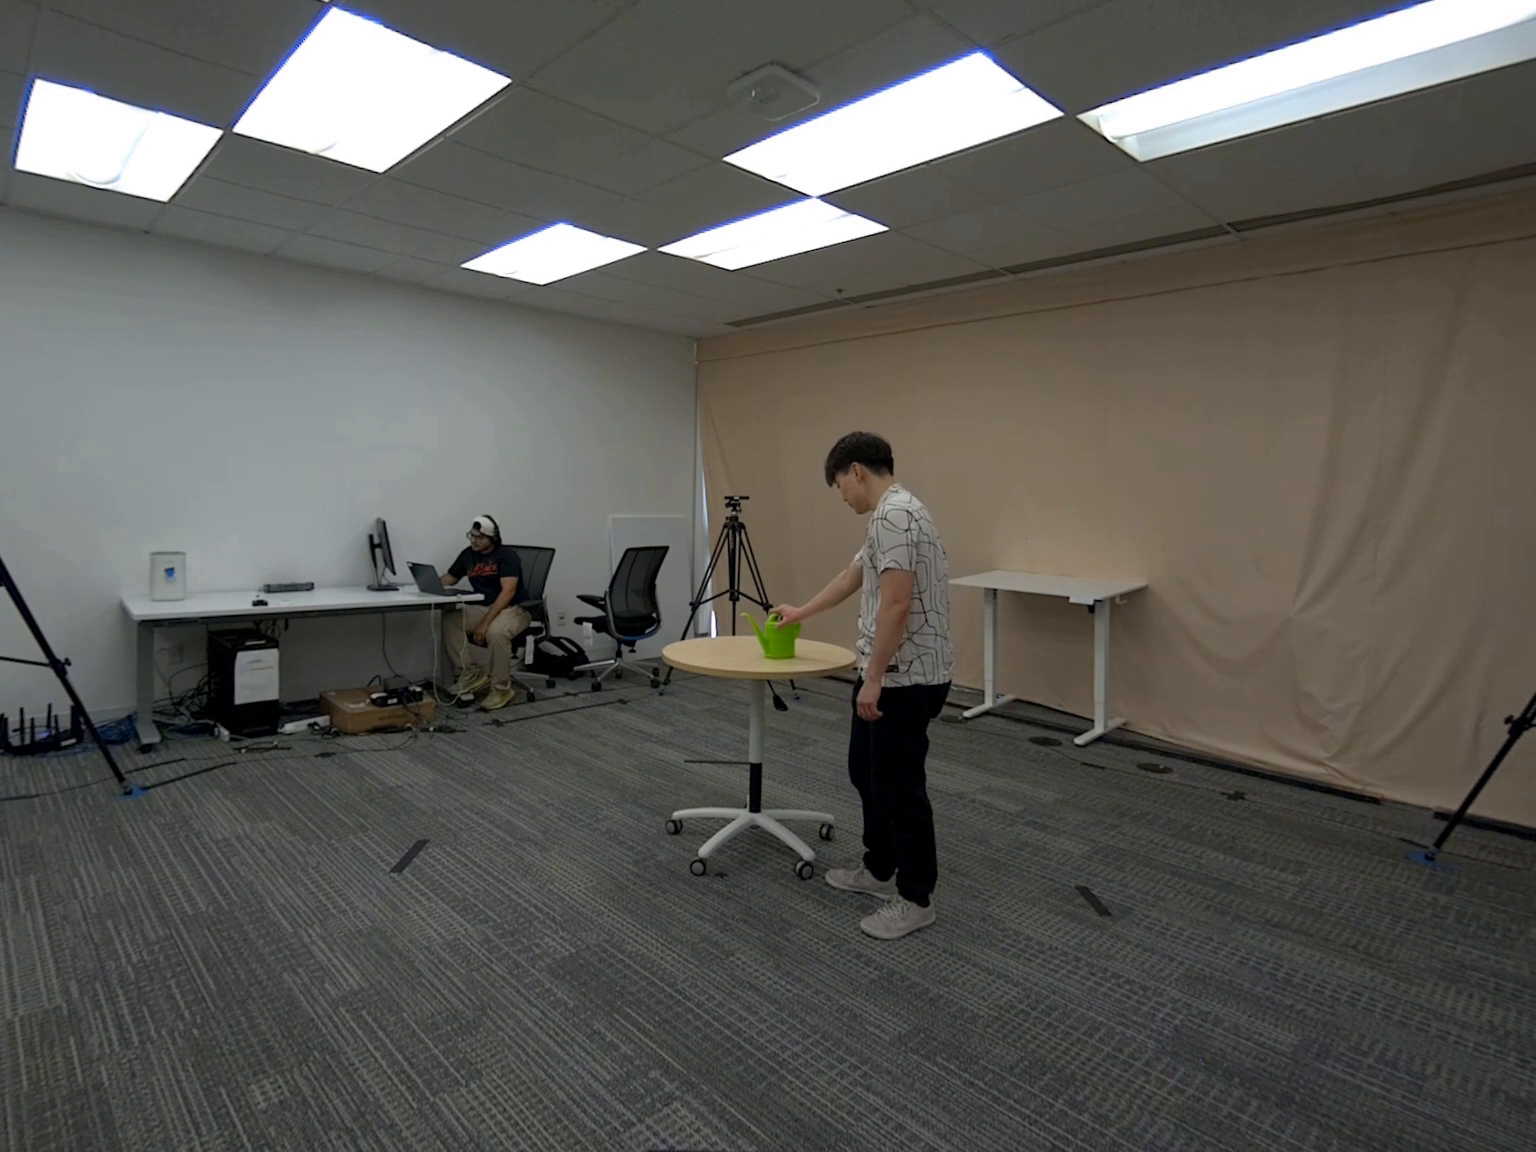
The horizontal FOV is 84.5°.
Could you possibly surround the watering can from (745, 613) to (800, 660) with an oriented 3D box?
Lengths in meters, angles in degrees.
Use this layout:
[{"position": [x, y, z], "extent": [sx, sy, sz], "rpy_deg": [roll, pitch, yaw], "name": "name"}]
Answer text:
[{"position": [0.001, 0.224, 3.236], "extent": [0.273, 0.176, 0.100], "rpy_deg": [3, 4, -22], "name": "watering can"}]
